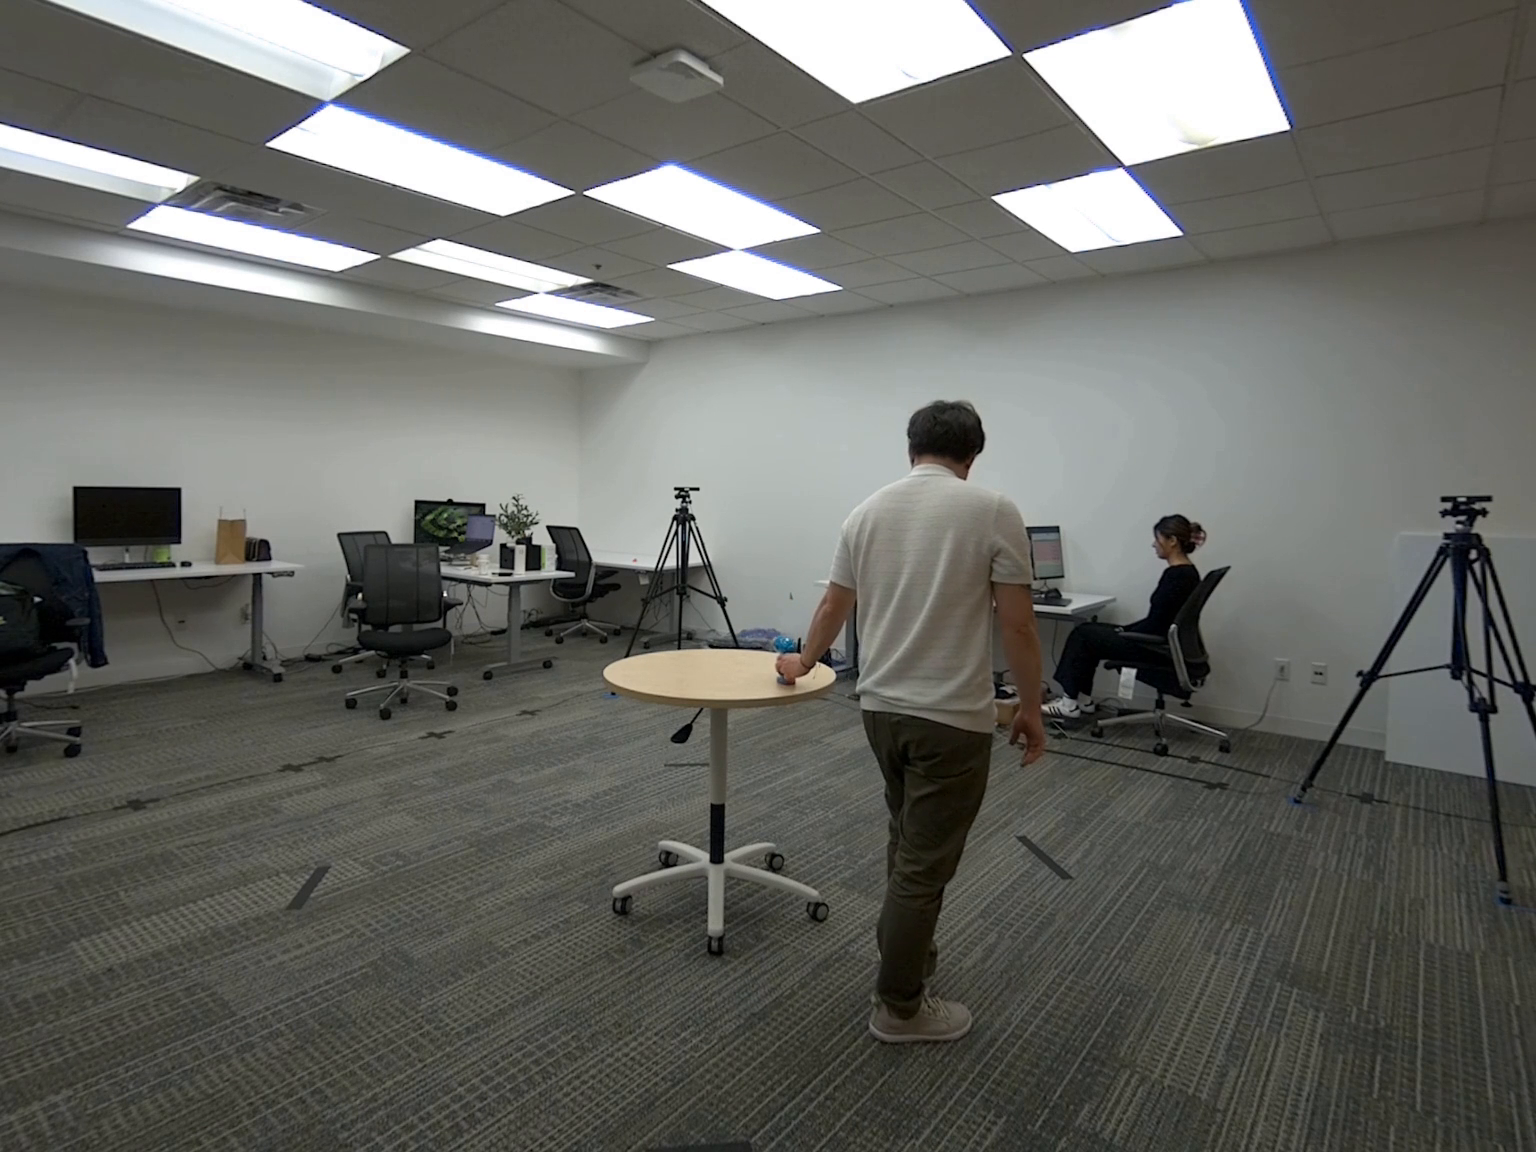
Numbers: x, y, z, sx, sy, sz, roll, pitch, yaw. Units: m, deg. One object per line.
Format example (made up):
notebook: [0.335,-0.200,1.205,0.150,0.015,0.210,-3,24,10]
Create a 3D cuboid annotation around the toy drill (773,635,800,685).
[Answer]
toy drill: [0.034,0.252,2.694,0.060,0.145,0.173,-2,5,-19]
